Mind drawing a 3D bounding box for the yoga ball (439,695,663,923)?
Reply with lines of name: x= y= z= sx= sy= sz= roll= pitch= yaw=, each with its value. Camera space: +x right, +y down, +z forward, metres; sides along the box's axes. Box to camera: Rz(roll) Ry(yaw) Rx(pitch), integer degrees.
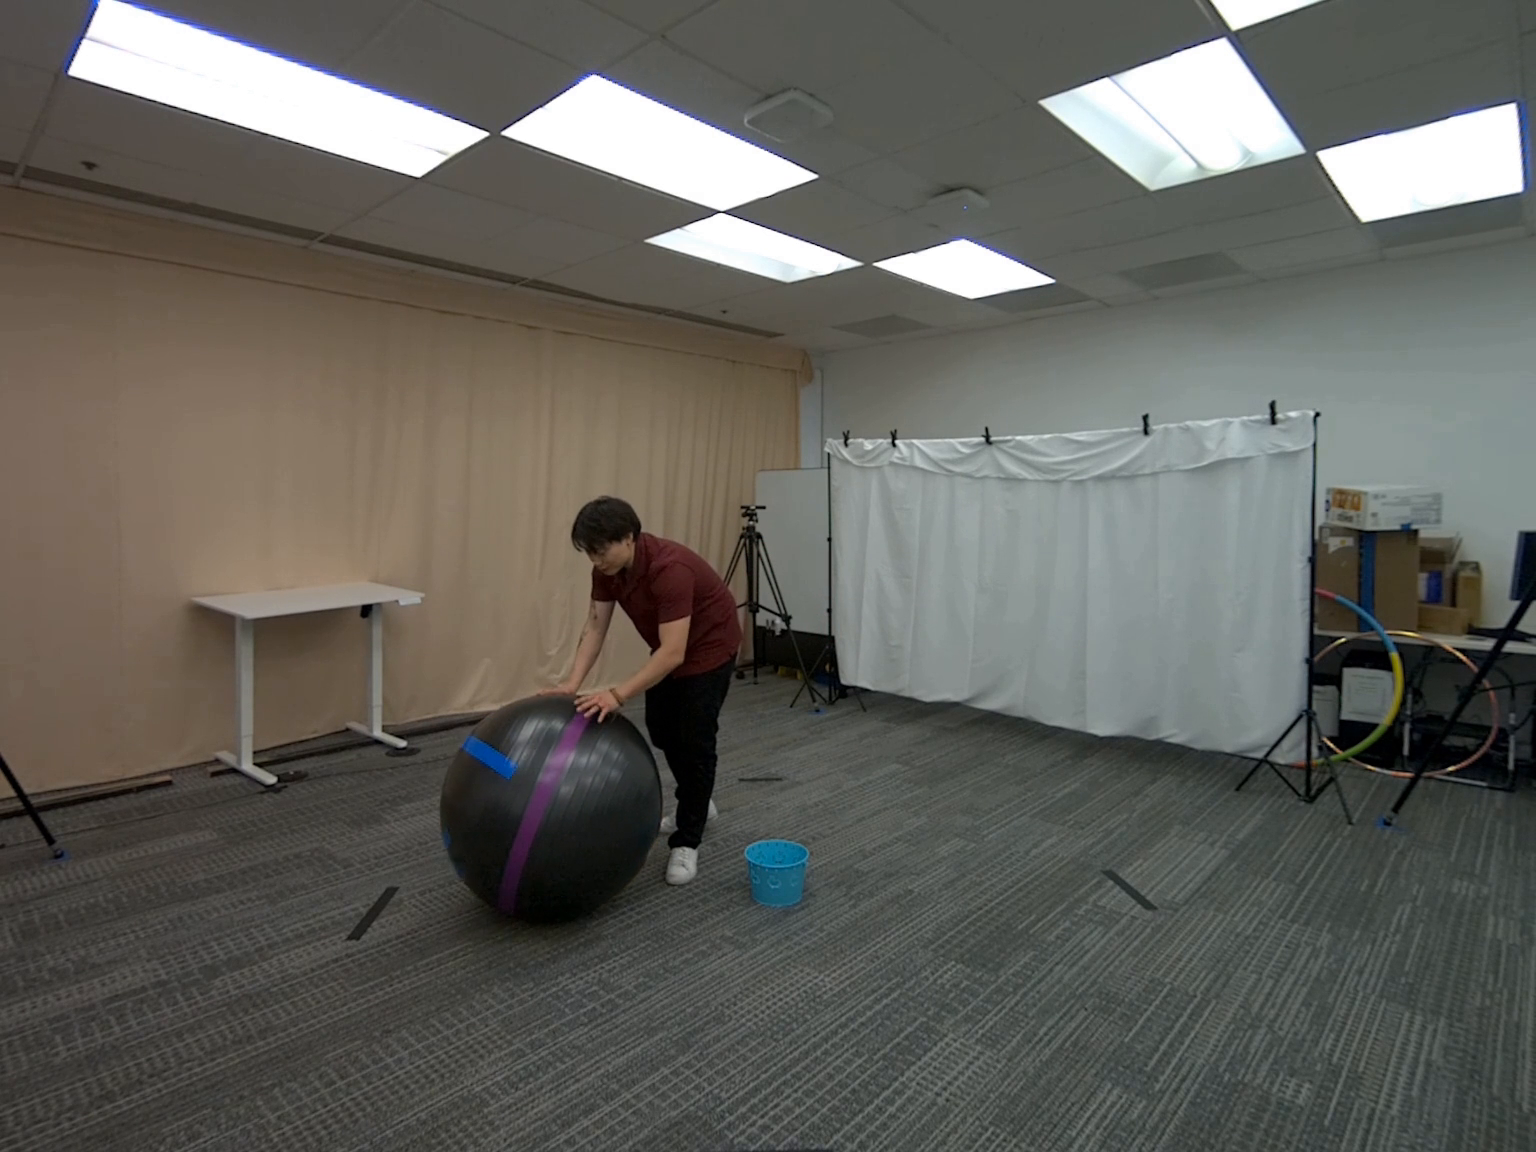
yoga ball: x=-0.753 y=0.798 z=2.945 sx=0.757 sy=0.756 sz=0.760 roll=0 pitch=4 yaw=-2
